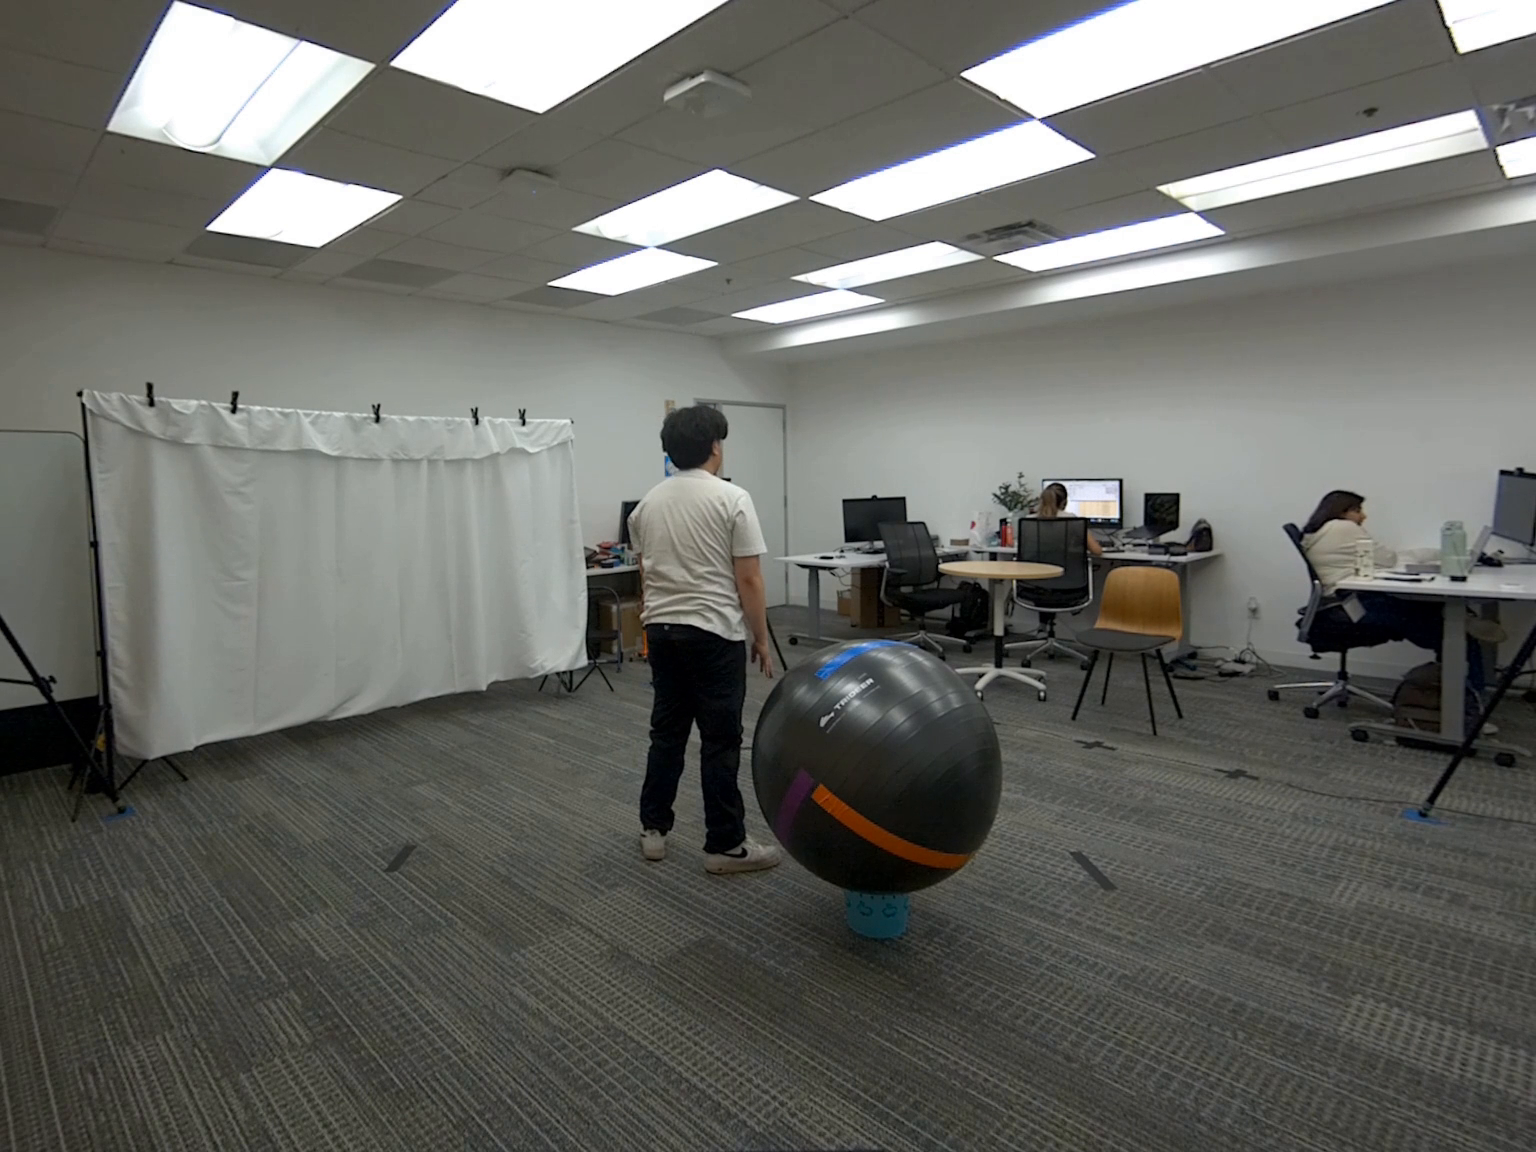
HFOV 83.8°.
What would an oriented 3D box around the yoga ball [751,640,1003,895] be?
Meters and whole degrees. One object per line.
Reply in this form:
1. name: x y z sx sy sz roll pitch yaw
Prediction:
1. yoga ball: 0.327 0.580 2.638 0.757 0.755 0.762 -1 5 -2
